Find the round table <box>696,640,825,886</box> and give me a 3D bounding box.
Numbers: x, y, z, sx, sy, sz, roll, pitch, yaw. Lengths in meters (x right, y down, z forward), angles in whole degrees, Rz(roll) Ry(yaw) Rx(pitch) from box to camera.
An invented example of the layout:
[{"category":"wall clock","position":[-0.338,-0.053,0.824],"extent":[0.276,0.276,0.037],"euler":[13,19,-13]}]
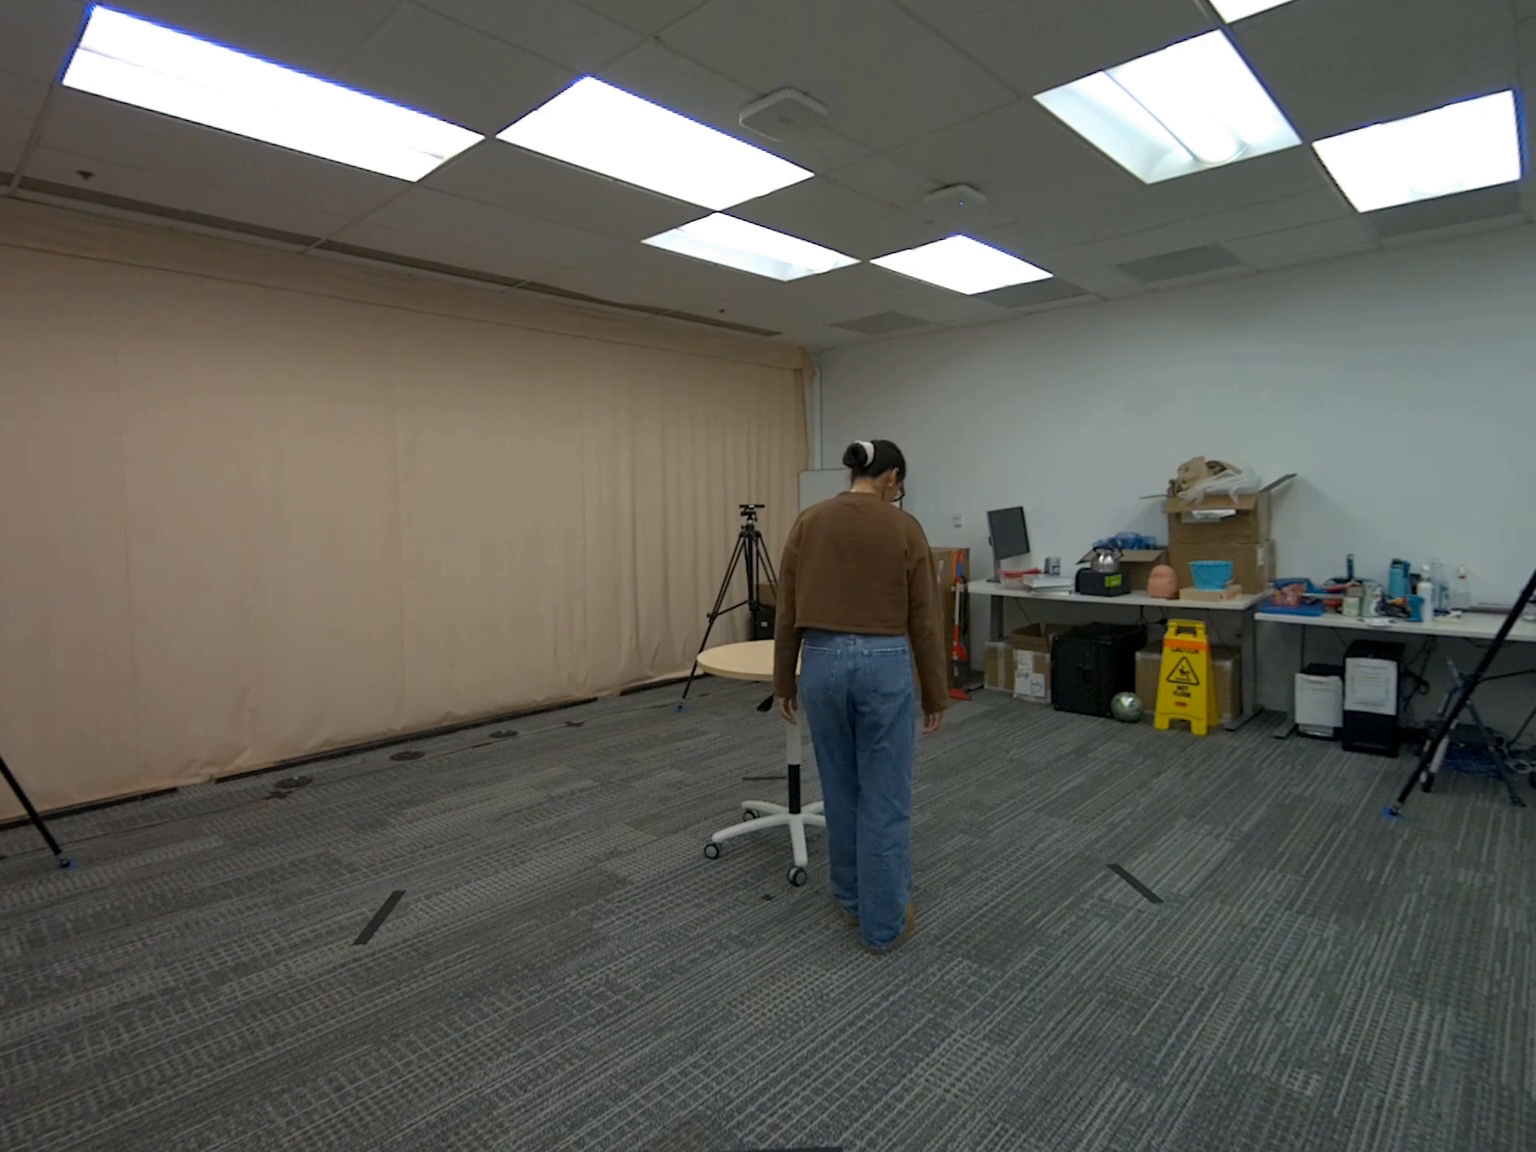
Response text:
[{"category":"round table","position":[0.105,0.713,3.401],"extent":[0.763,0.792,0.766],"euler":[-1,3,-2]}]
